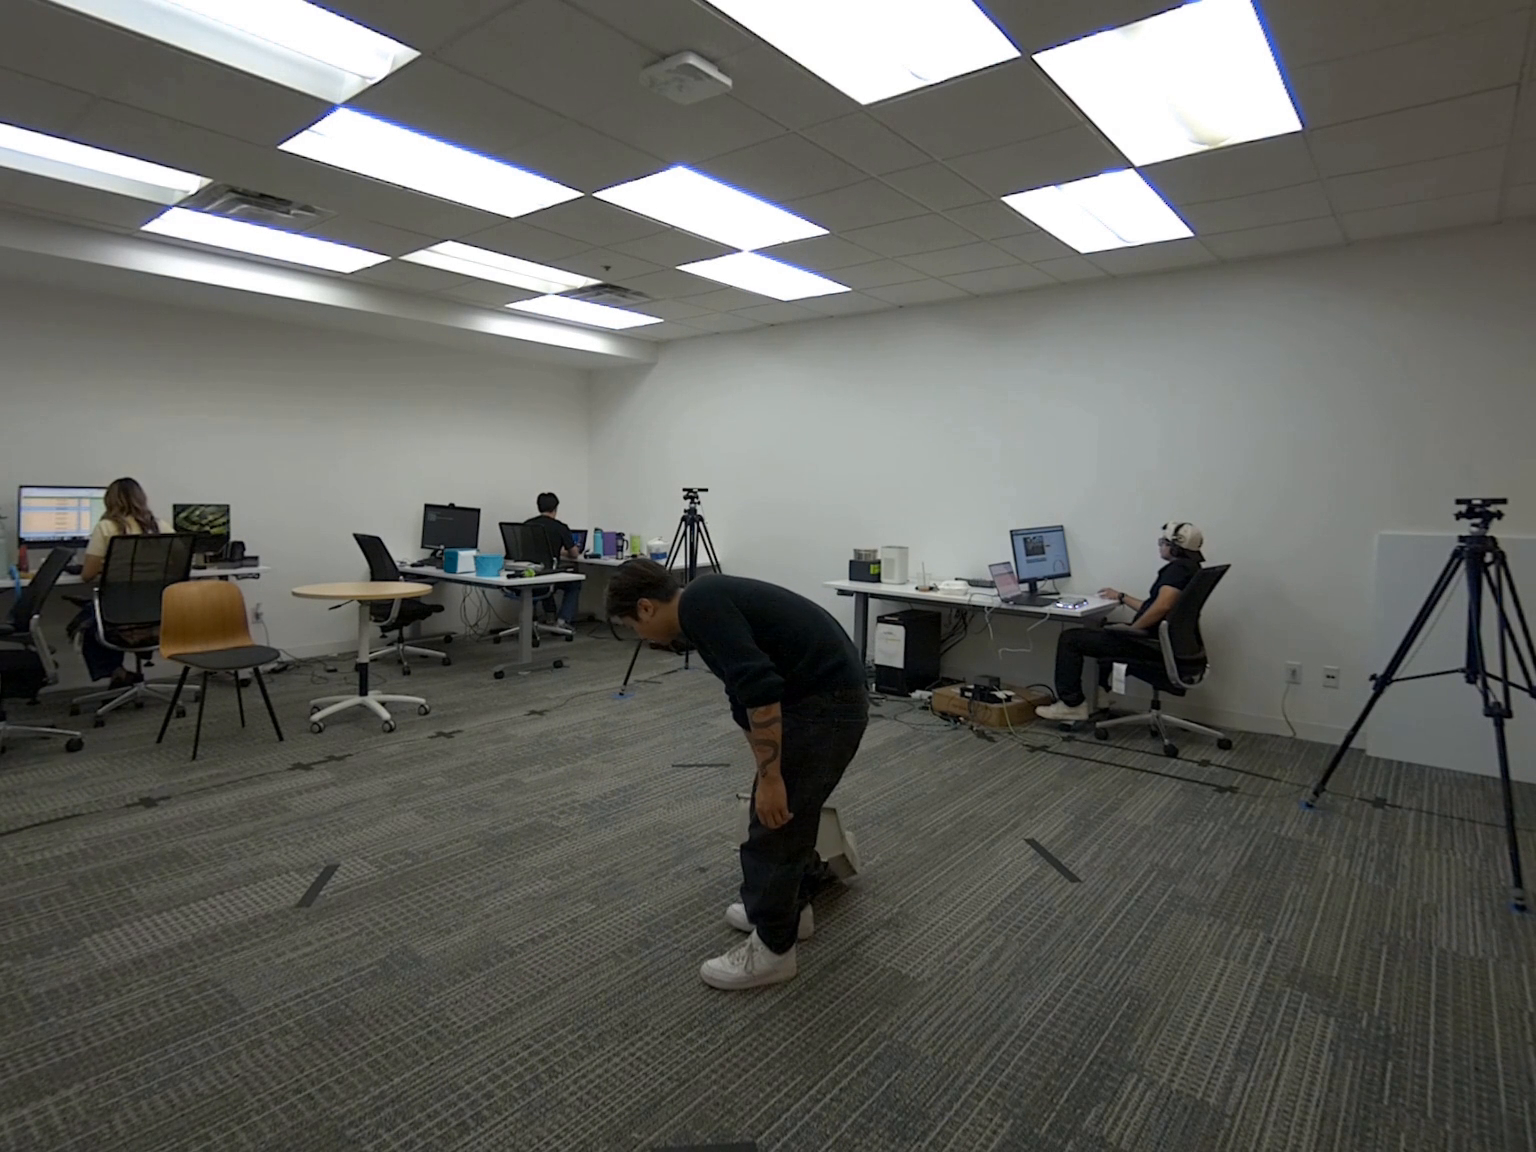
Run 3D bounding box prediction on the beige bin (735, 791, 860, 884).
[{"bbox_3d":[0.097,0.905,2.929,0.384,0.192,0.407,1,-27,15],"label":"beige bin"}]
